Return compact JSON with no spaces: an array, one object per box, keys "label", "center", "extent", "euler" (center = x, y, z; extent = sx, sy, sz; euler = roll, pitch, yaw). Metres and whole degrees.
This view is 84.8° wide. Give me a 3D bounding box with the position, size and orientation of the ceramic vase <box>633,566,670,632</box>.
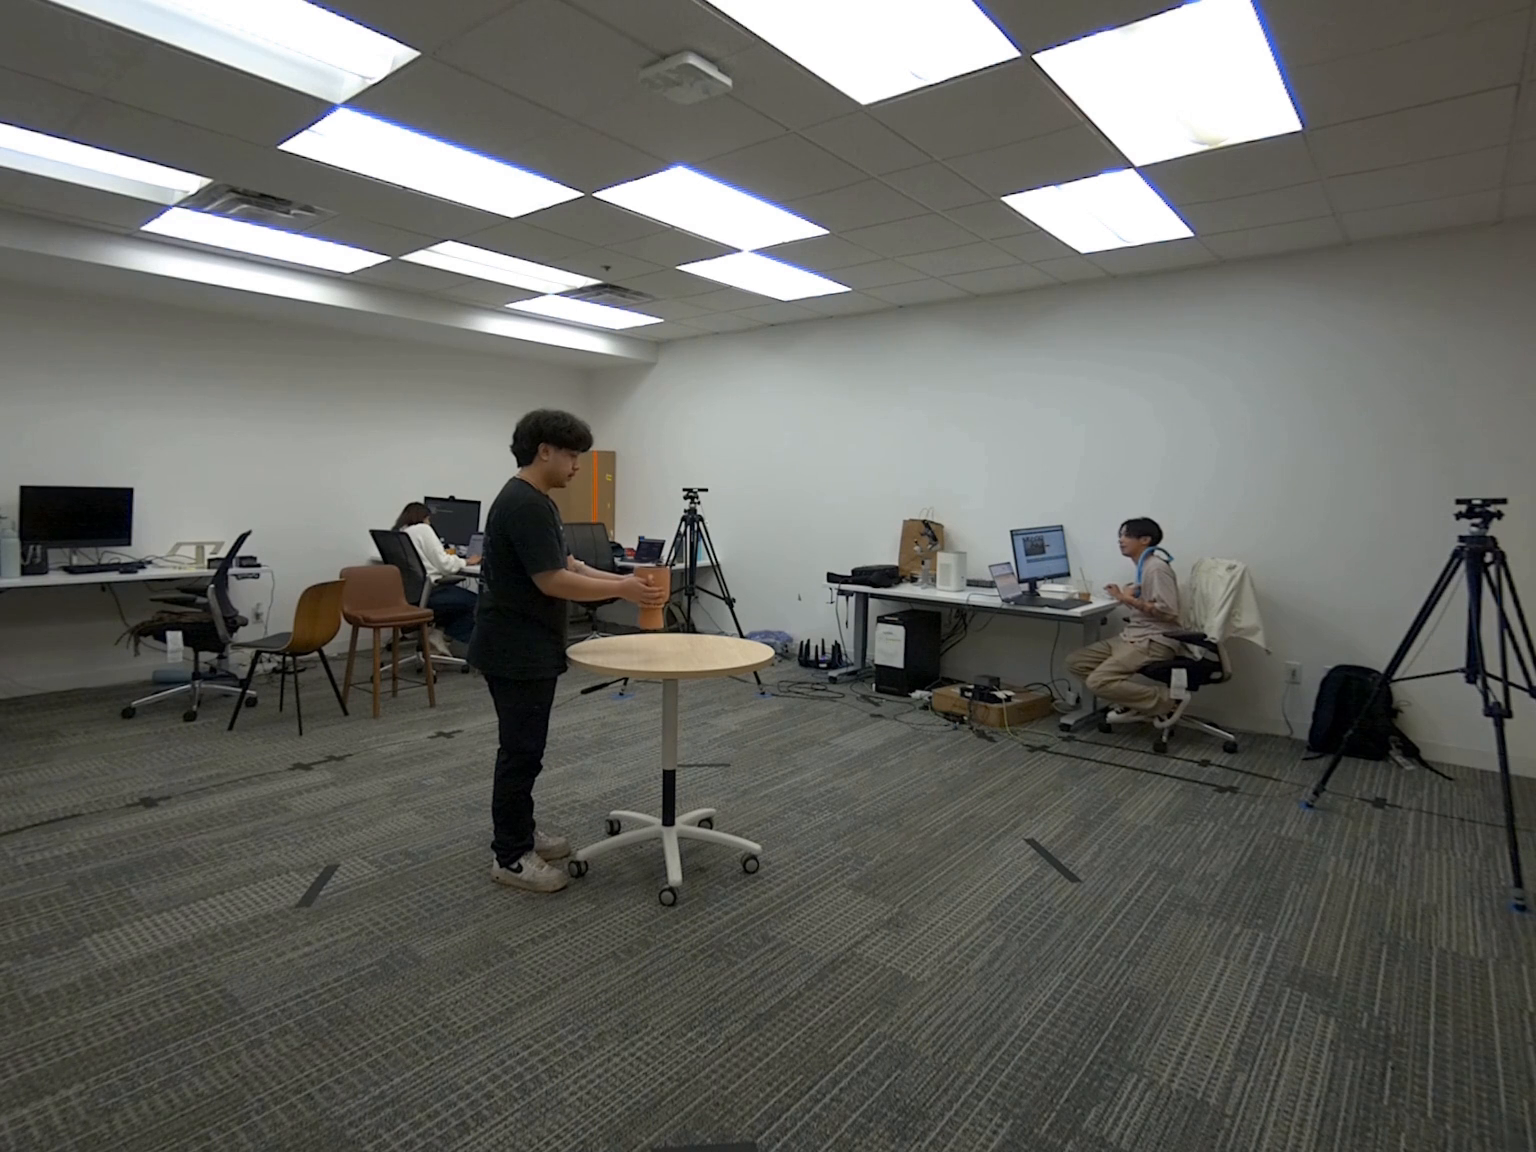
[{"label":"ceramic vase","center":[-0.443,0.080,3.098],"extent":[0.139,0.219,0.154],"euler":[3,2,35]}]
